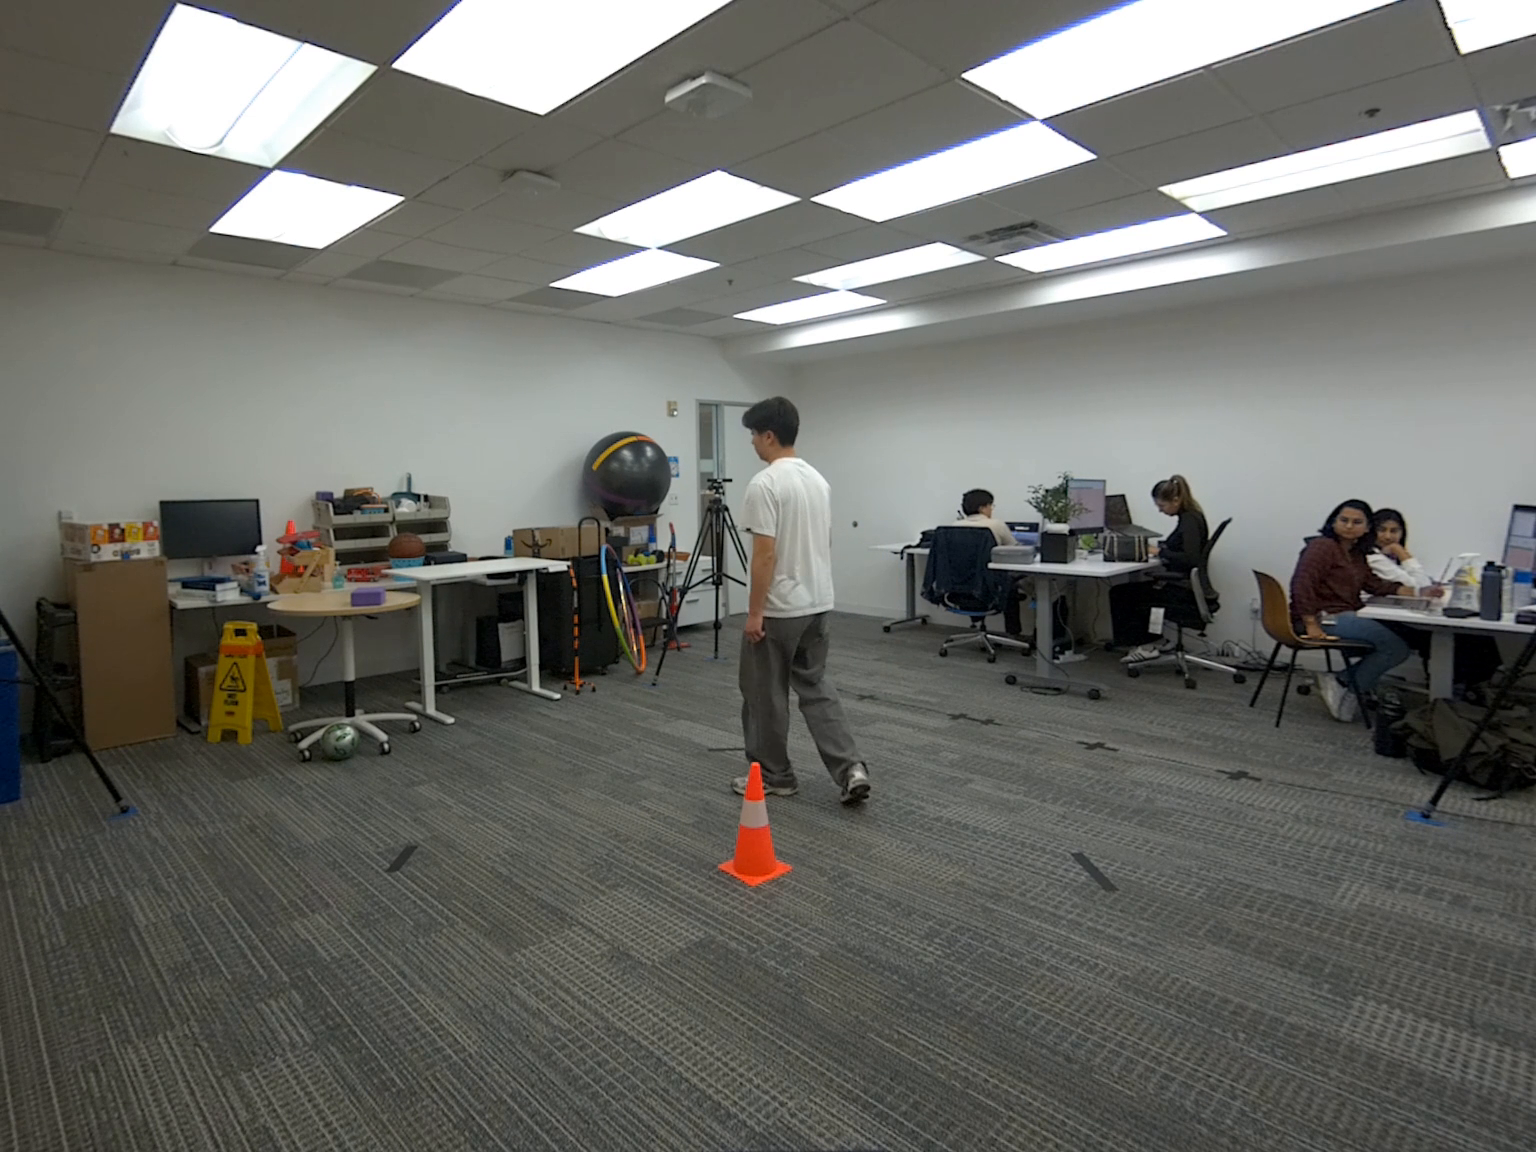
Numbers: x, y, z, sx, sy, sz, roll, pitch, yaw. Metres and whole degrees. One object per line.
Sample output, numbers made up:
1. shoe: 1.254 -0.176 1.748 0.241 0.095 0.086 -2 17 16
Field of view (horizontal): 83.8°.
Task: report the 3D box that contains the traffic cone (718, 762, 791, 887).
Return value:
1. traffic cone: -0.045 0.870 3.071 0.198 0.383 0.211 -3 4 -43
